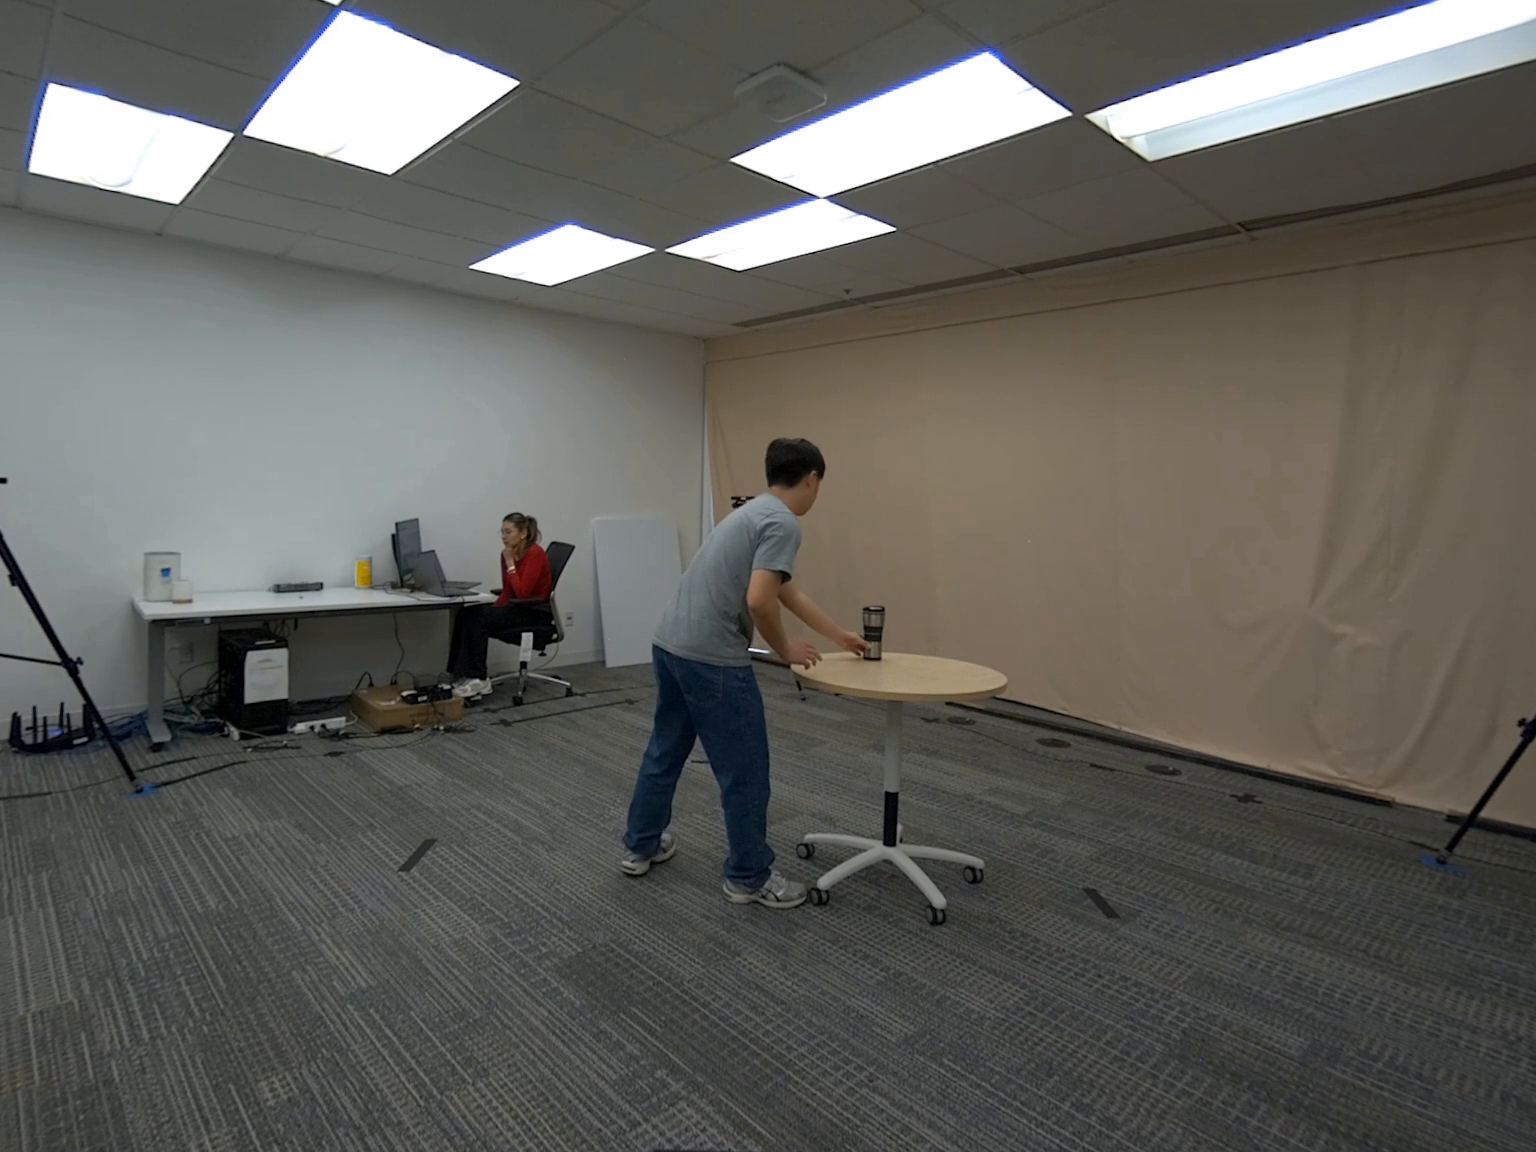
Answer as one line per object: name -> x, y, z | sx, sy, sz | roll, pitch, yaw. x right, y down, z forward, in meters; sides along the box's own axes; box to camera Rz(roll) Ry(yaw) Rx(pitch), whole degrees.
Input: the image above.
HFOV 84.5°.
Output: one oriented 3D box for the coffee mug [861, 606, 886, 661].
coffee mug -> 0.424, 0.222, 3.278 | 0.090, 0.203, 0.119 | -1, 2, 36
